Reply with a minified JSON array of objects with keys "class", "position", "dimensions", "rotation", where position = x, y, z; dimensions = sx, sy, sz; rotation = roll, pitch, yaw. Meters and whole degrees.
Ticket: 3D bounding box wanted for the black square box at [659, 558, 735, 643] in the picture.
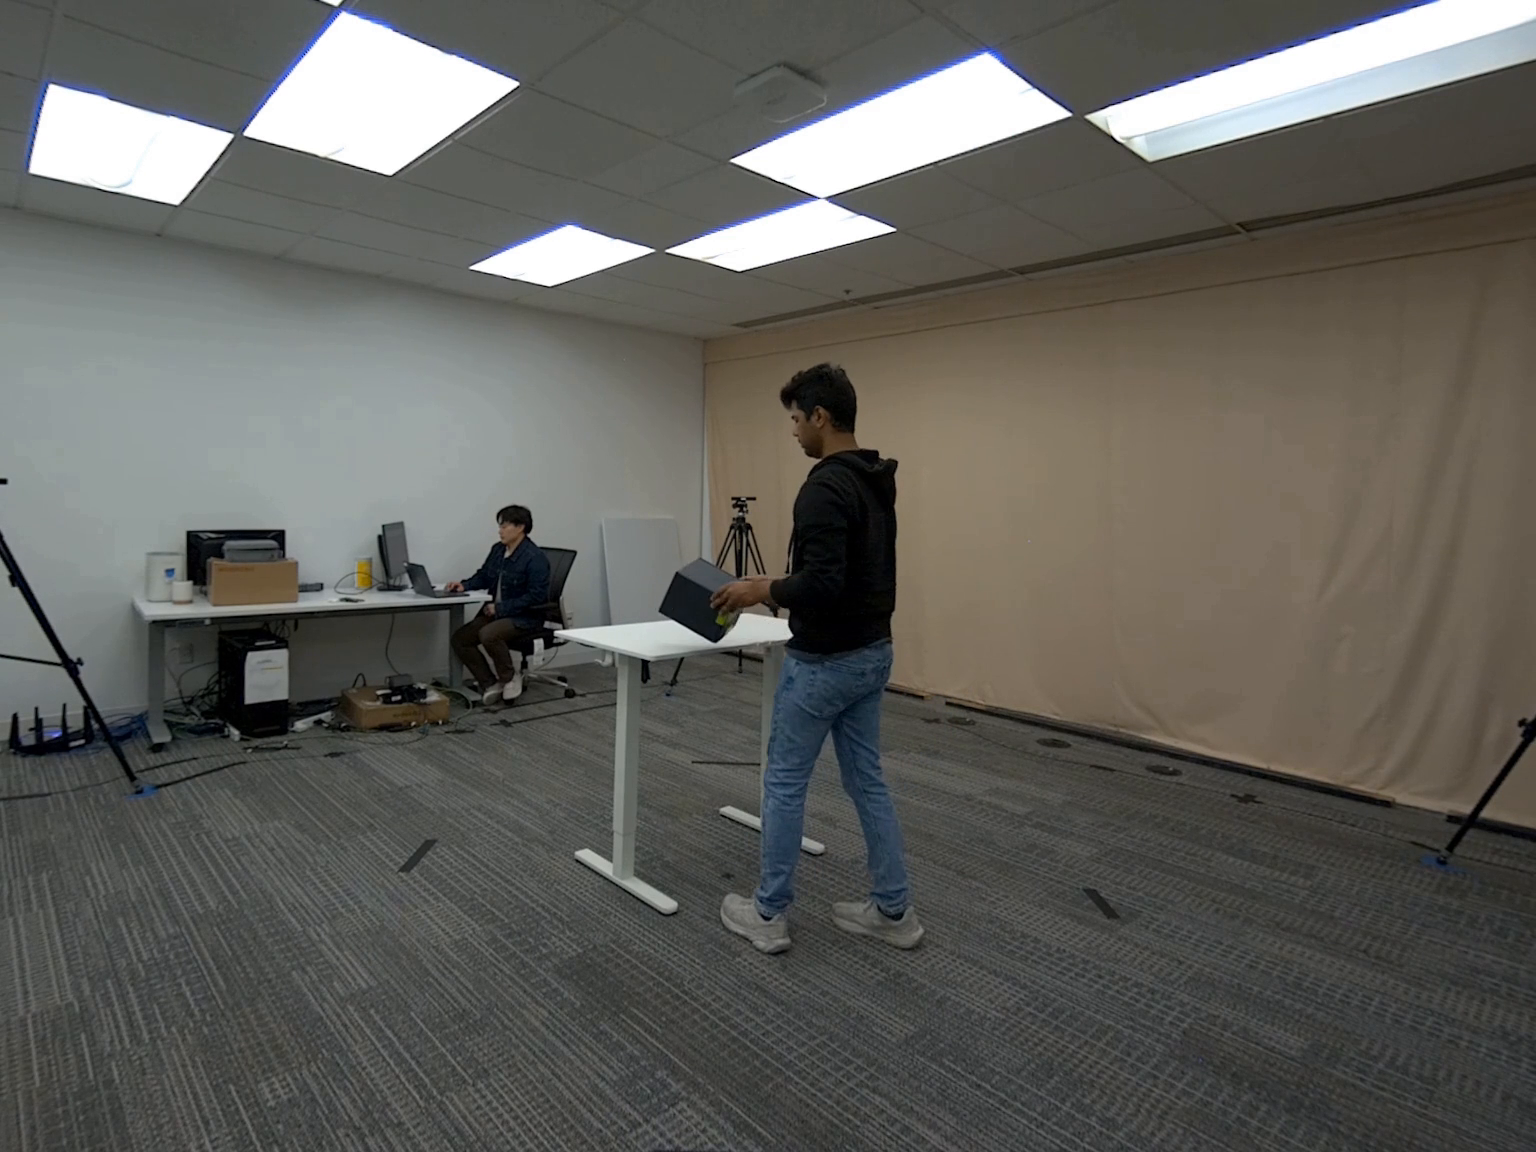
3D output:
[{"class":"black square box","position":[-0.194,0.086,2.784],"dimensions":[0.219,0.155,0.227],"rotation":[28,18,7]}]
